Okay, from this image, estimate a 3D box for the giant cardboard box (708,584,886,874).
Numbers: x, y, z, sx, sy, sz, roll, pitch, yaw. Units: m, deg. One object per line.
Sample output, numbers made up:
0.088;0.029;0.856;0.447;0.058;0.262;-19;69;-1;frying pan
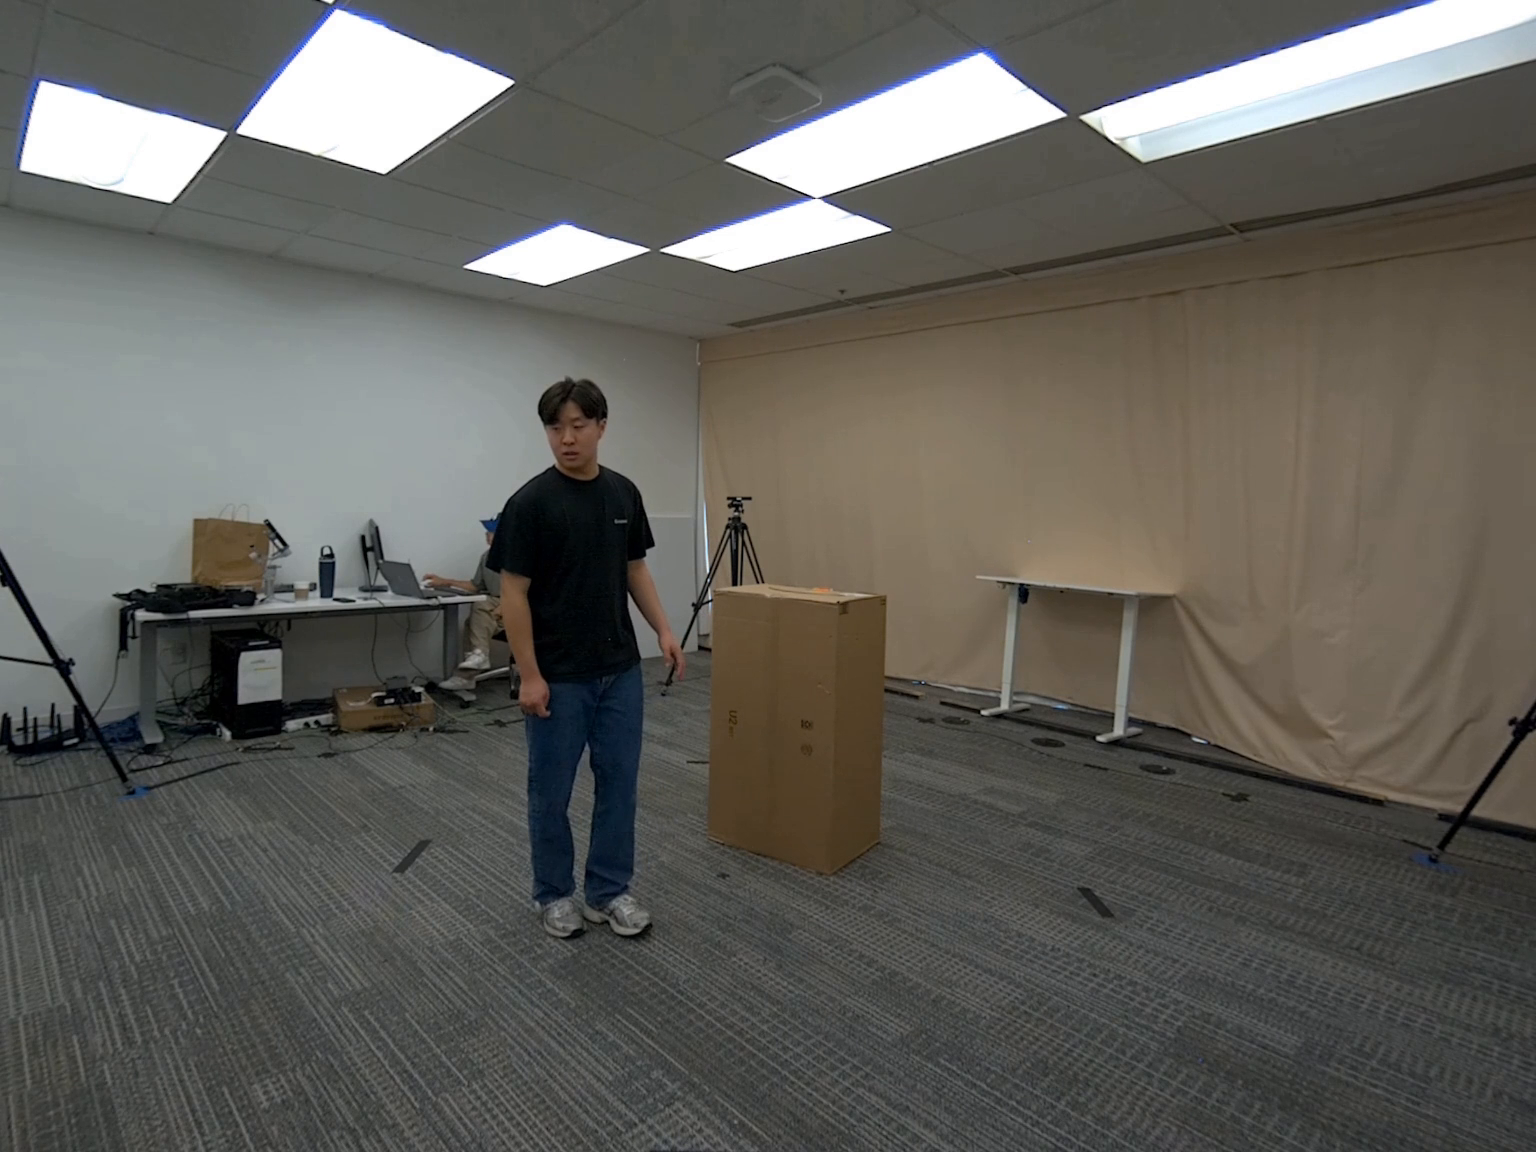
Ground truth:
0.117;0.573;3.430;0.598;1.025;0.437;4;3;36;giant cardboard box
